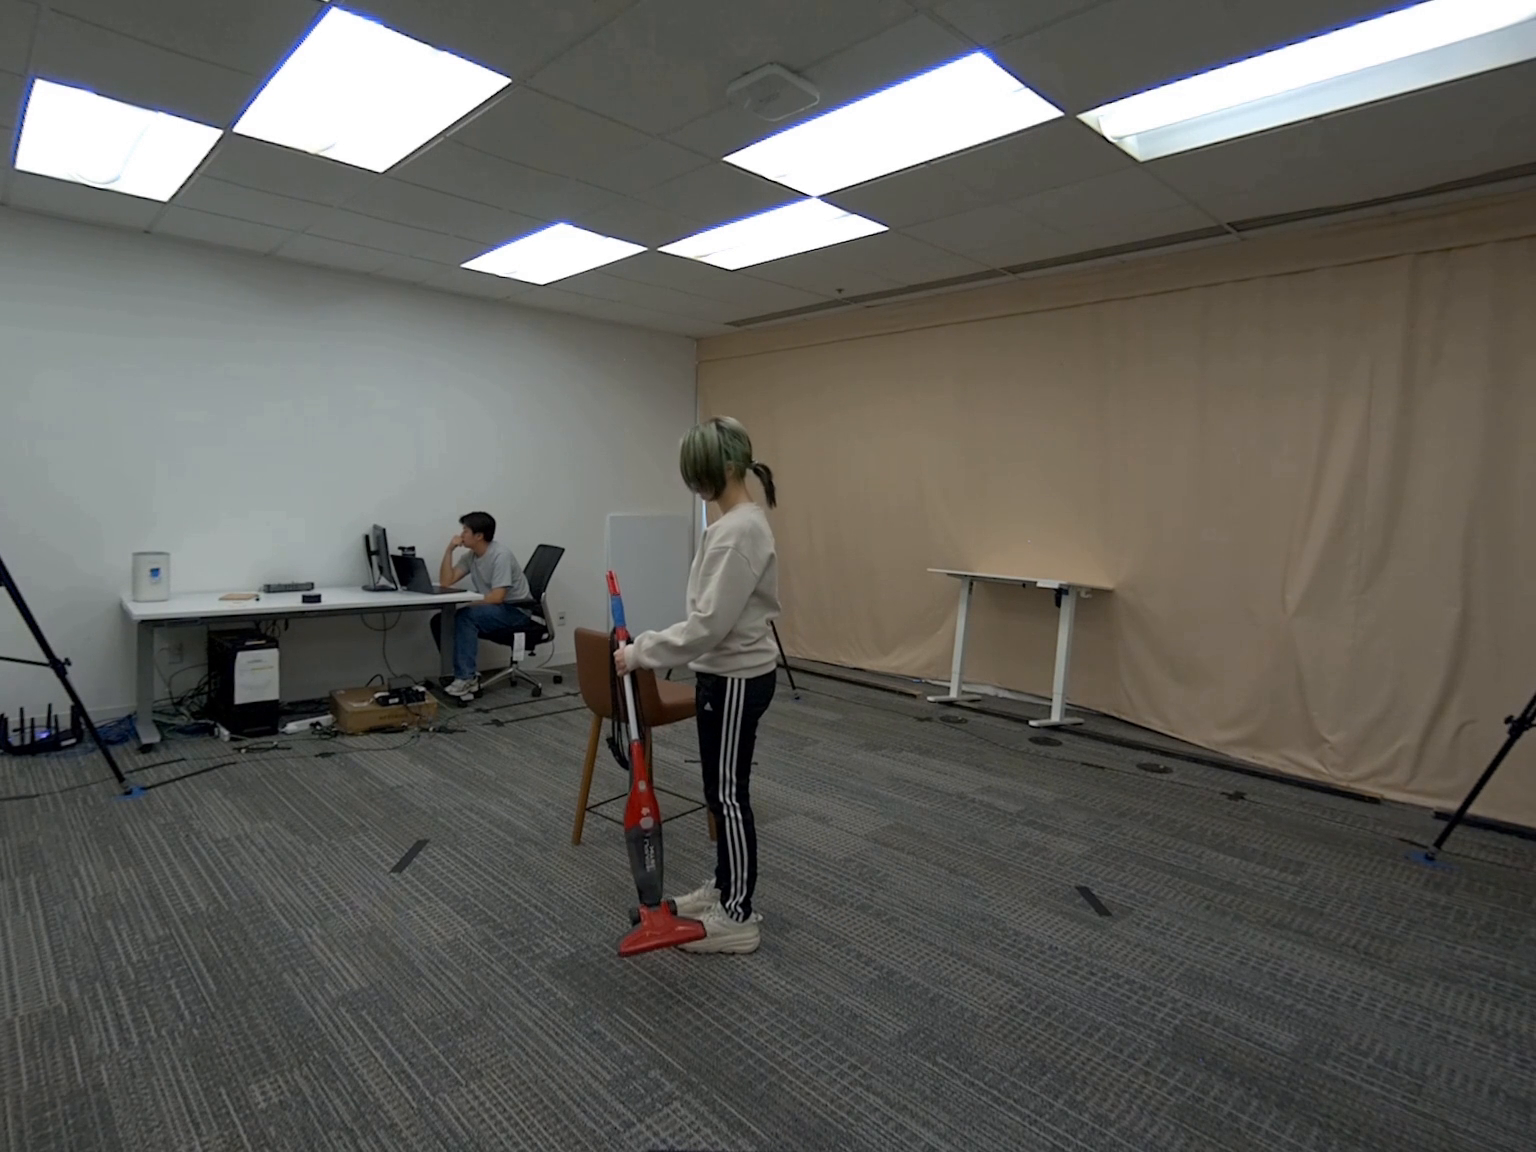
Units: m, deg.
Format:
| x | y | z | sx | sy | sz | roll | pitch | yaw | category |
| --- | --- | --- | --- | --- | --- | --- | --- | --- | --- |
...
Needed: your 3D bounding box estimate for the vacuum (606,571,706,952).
| x | y | z | sx | sy | sz | roll | pitch | yaw | category |
| --- | --- | --- | --- | --- | --- | --- | --- | --- | --- |
| -0.421 | 0.493 | 2.521 | 0.249 | 1.064 | 0.144 | -5 | -17 | -22 | vacuum |
